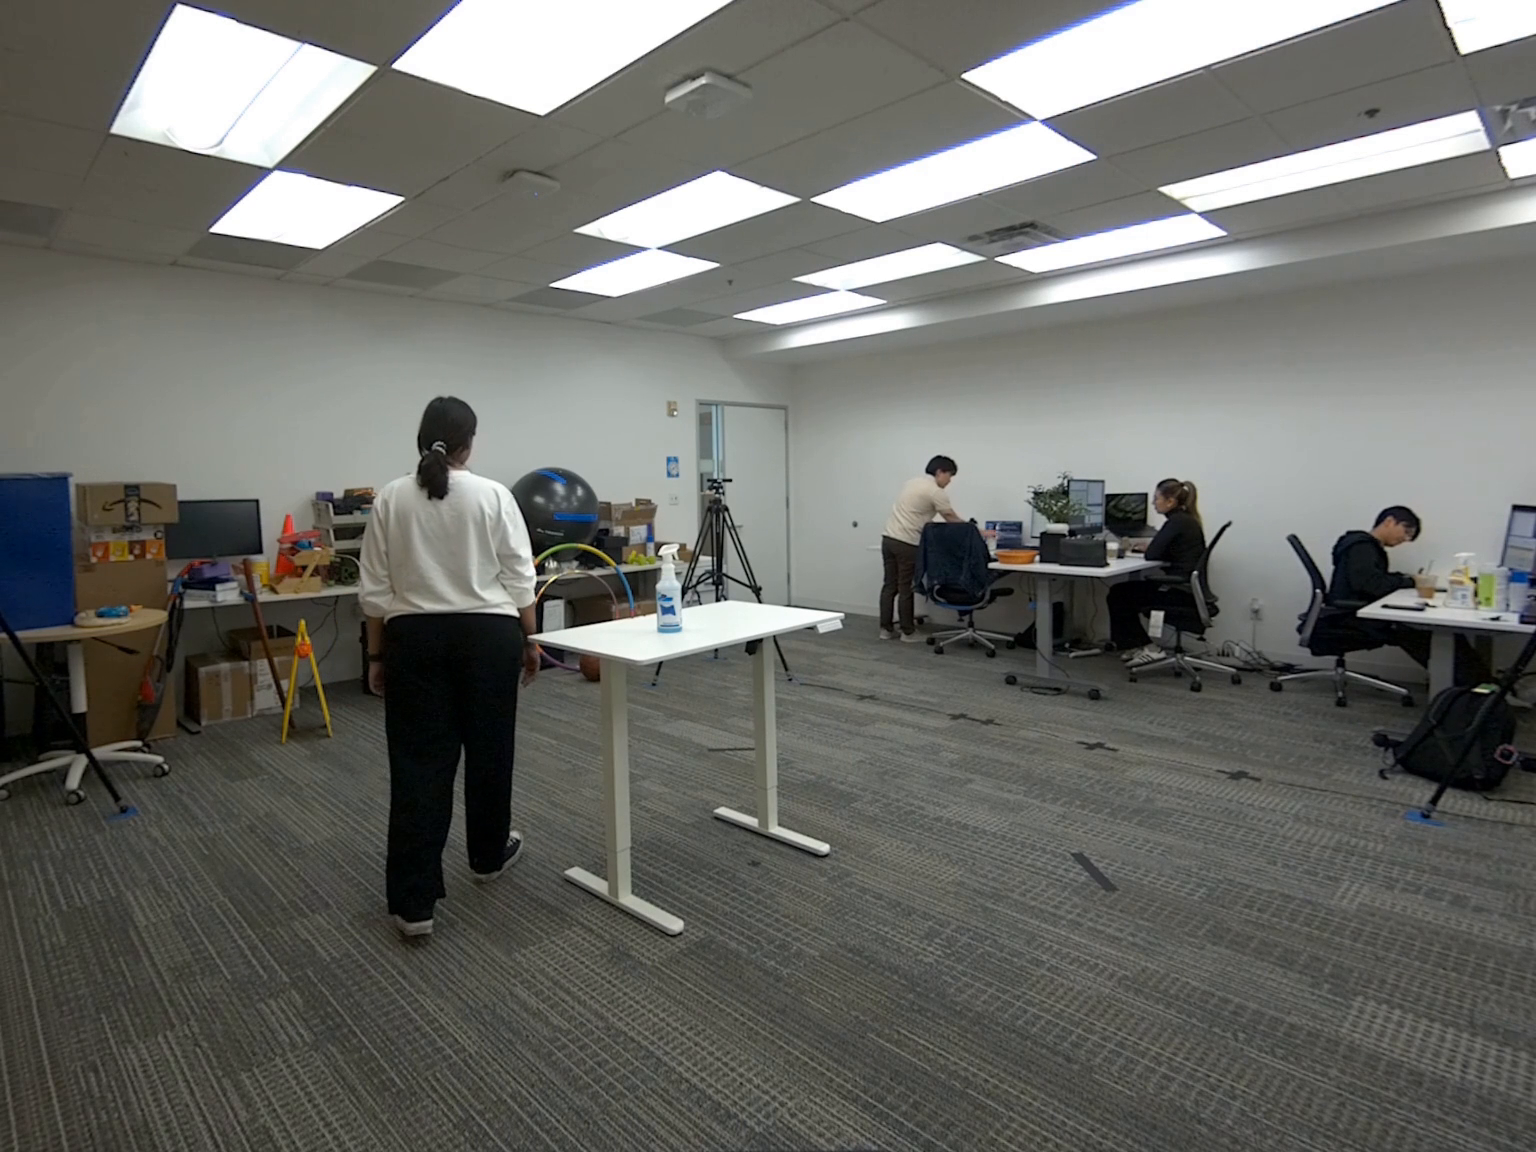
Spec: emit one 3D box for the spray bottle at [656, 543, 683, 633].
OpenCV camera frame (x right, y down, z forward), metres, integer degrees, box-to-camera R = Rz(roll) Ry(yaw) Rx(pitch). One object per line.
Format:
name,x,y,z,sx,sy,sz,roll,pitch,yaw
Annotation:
spray bottle,-0.342,0.043,2.928,0.088,0.296,0.089,-2,4,-24
